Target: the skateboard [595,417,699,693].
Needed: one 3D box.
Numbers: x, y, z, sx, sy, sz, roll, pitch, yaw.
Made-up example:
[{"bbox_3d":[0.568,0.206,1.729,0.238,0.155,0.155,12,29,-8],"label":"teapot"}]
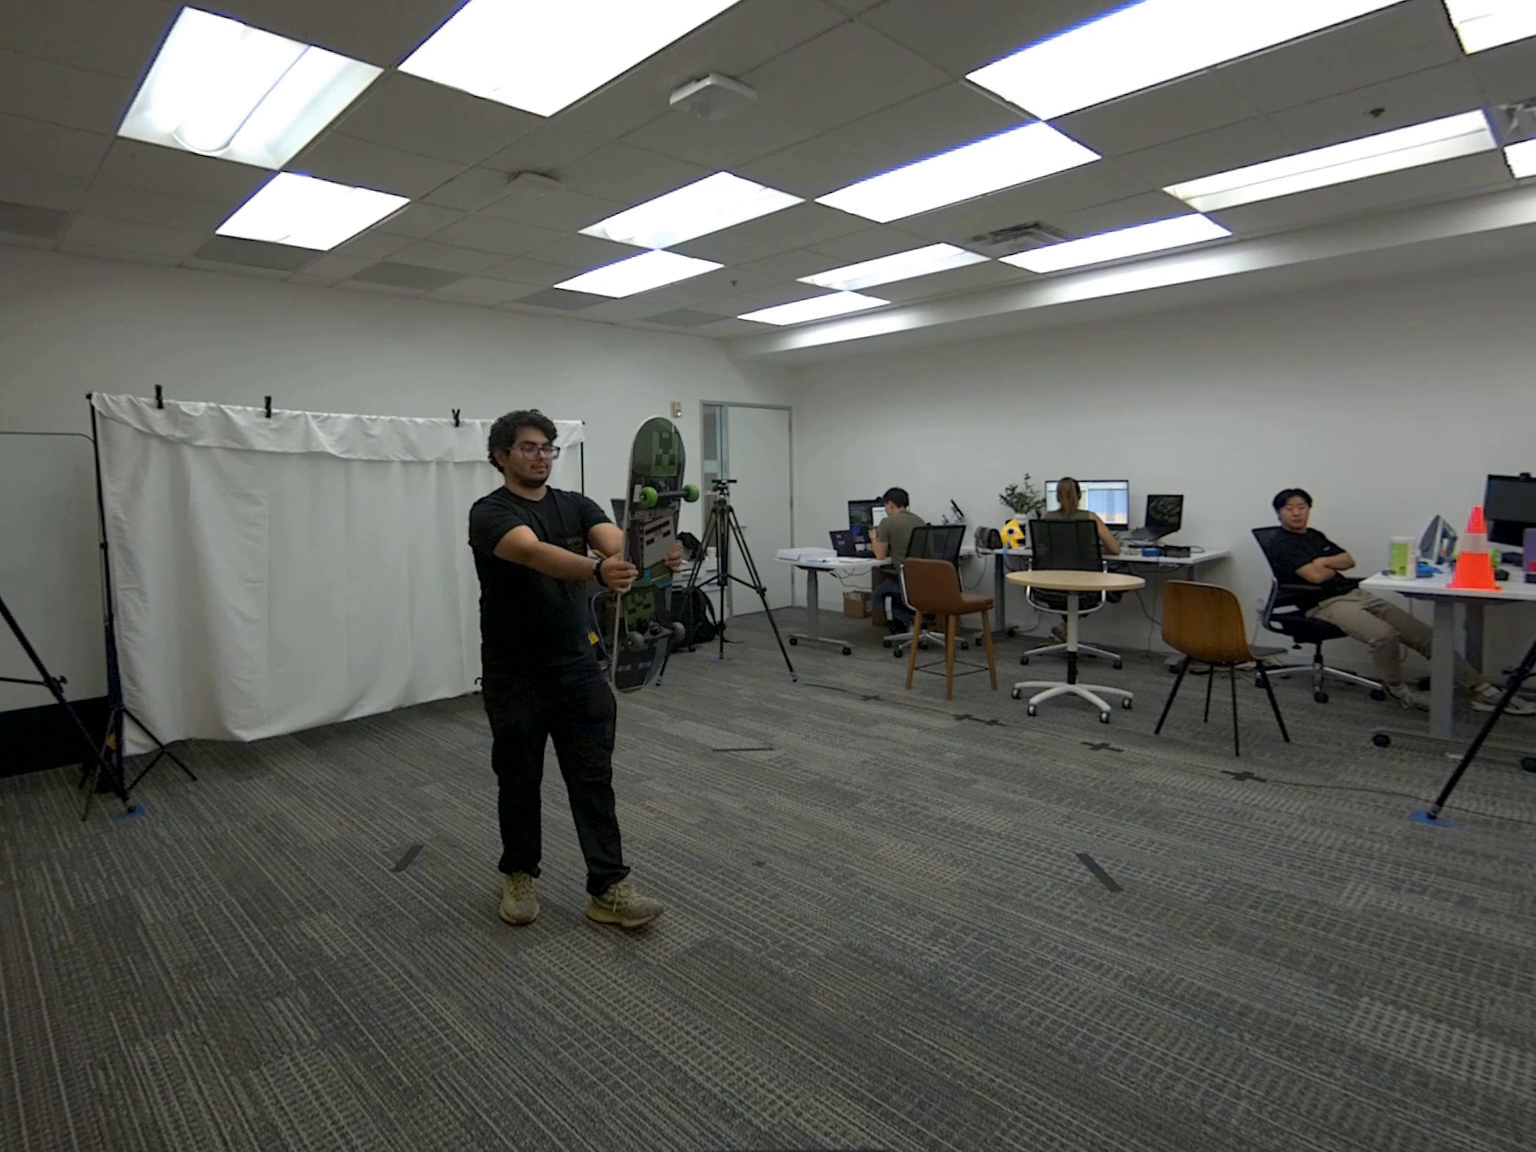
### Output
[{"bbox_3d":[-0.301,-0.031,2.312,0.114,0.777,0.188,19,17,40],"label":"skateboard"}]
